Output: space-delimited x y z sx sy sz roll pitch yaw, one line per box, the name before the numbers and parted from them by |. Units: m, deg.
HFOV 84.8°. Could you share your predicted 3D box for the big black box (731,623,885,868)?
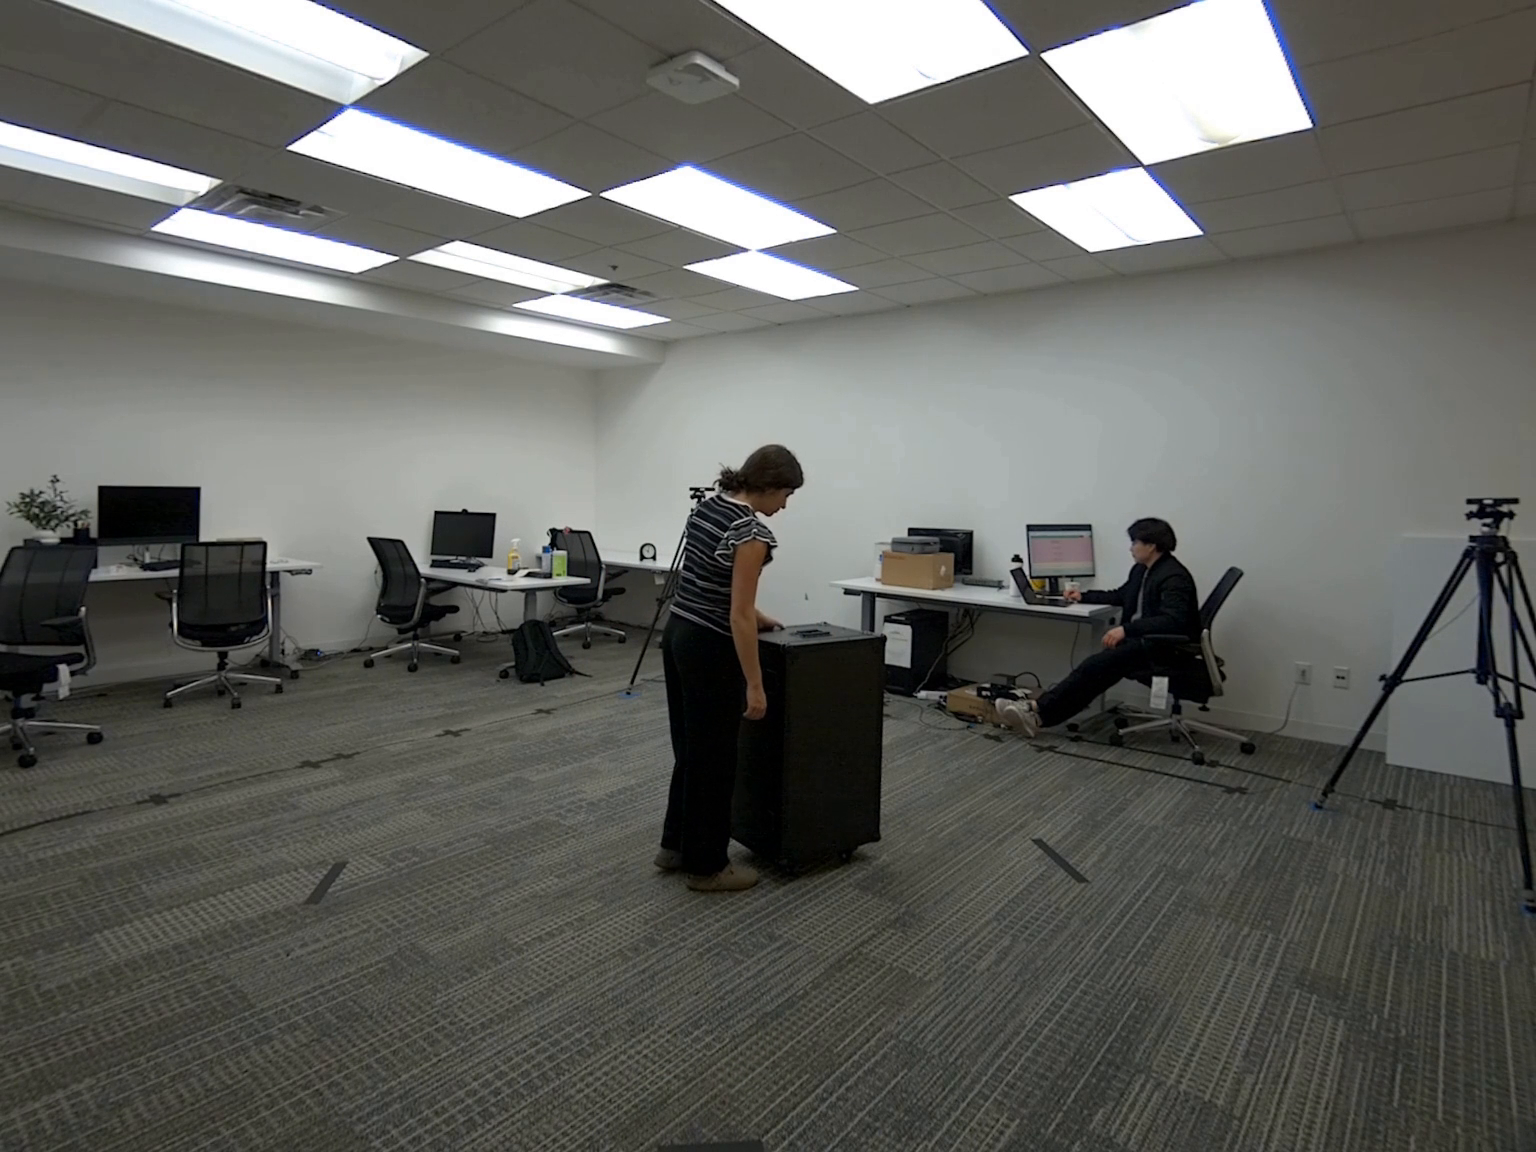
big black box | 0.122 0.637 3.227 0.506 0.859 0.409 -1 3 -35
